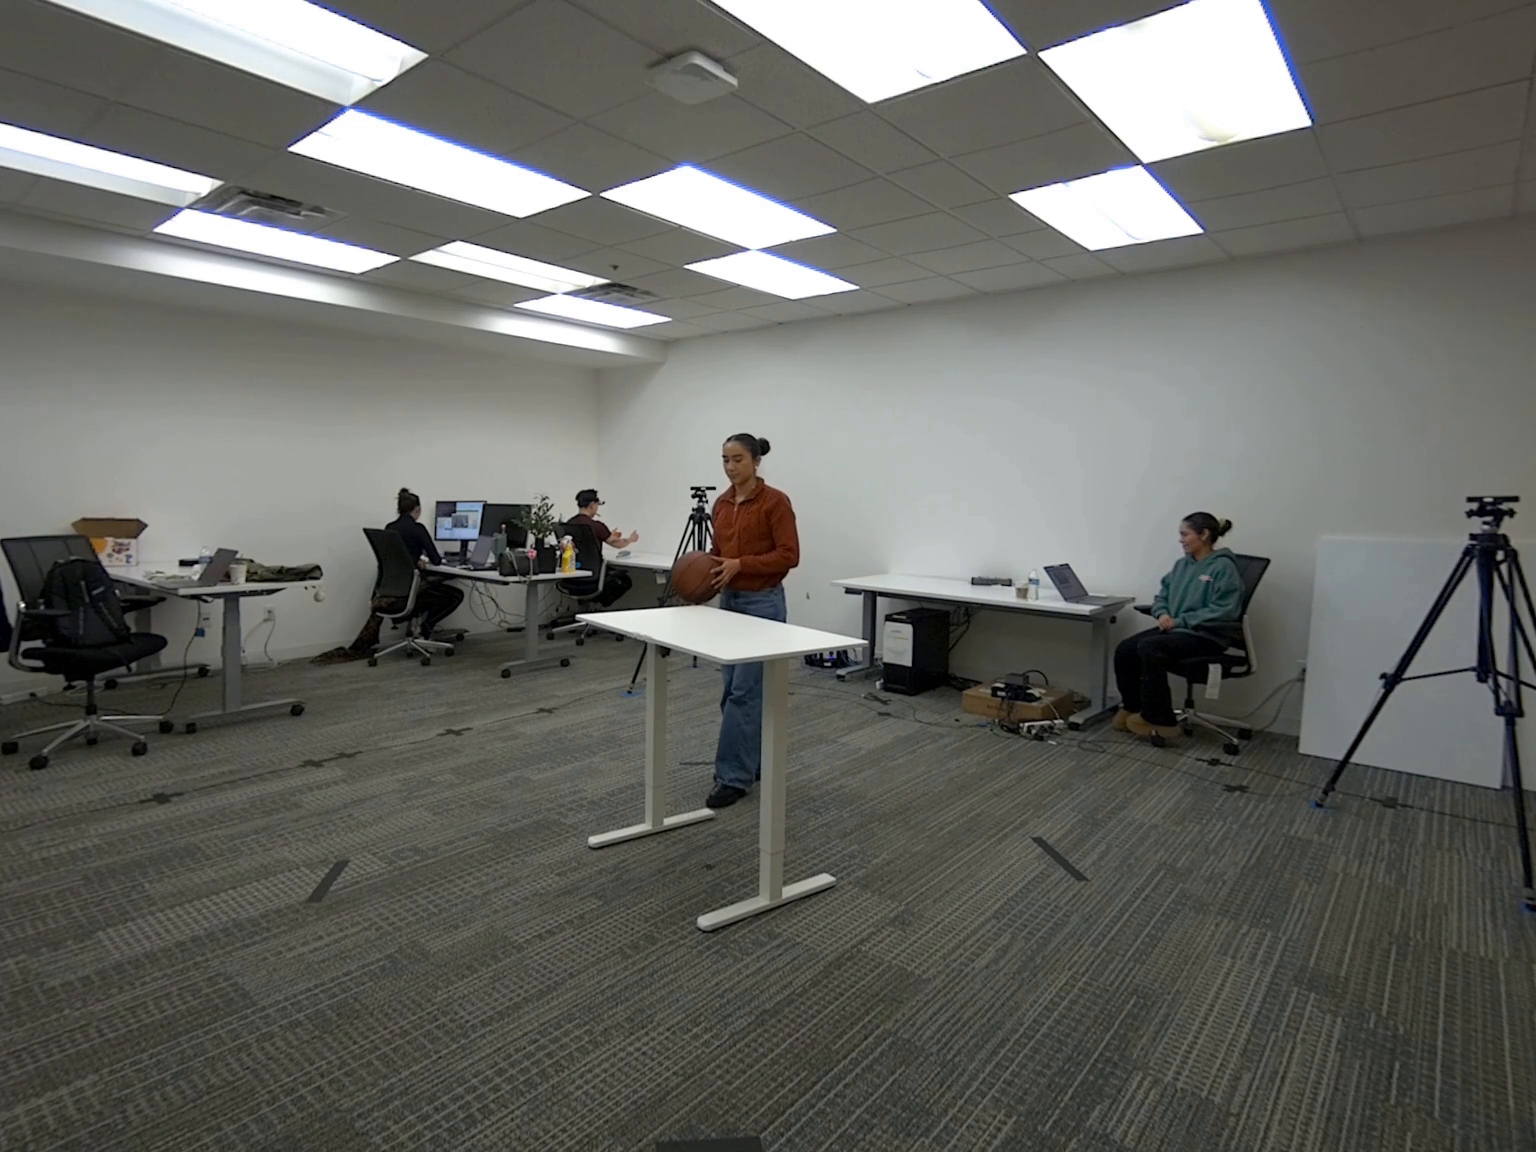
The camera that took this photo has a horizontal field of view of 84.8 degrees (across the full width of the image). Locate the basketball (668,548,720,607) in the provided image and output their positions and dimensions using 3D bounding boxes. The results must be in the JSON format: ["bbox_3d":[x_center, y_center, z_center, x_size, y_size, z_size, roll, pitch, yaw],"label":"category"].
[{"bbox_3d":[-0.324,0.000,3.784,0.235,0.235,0.237,1,4,-2],"label":"basketball"}]
